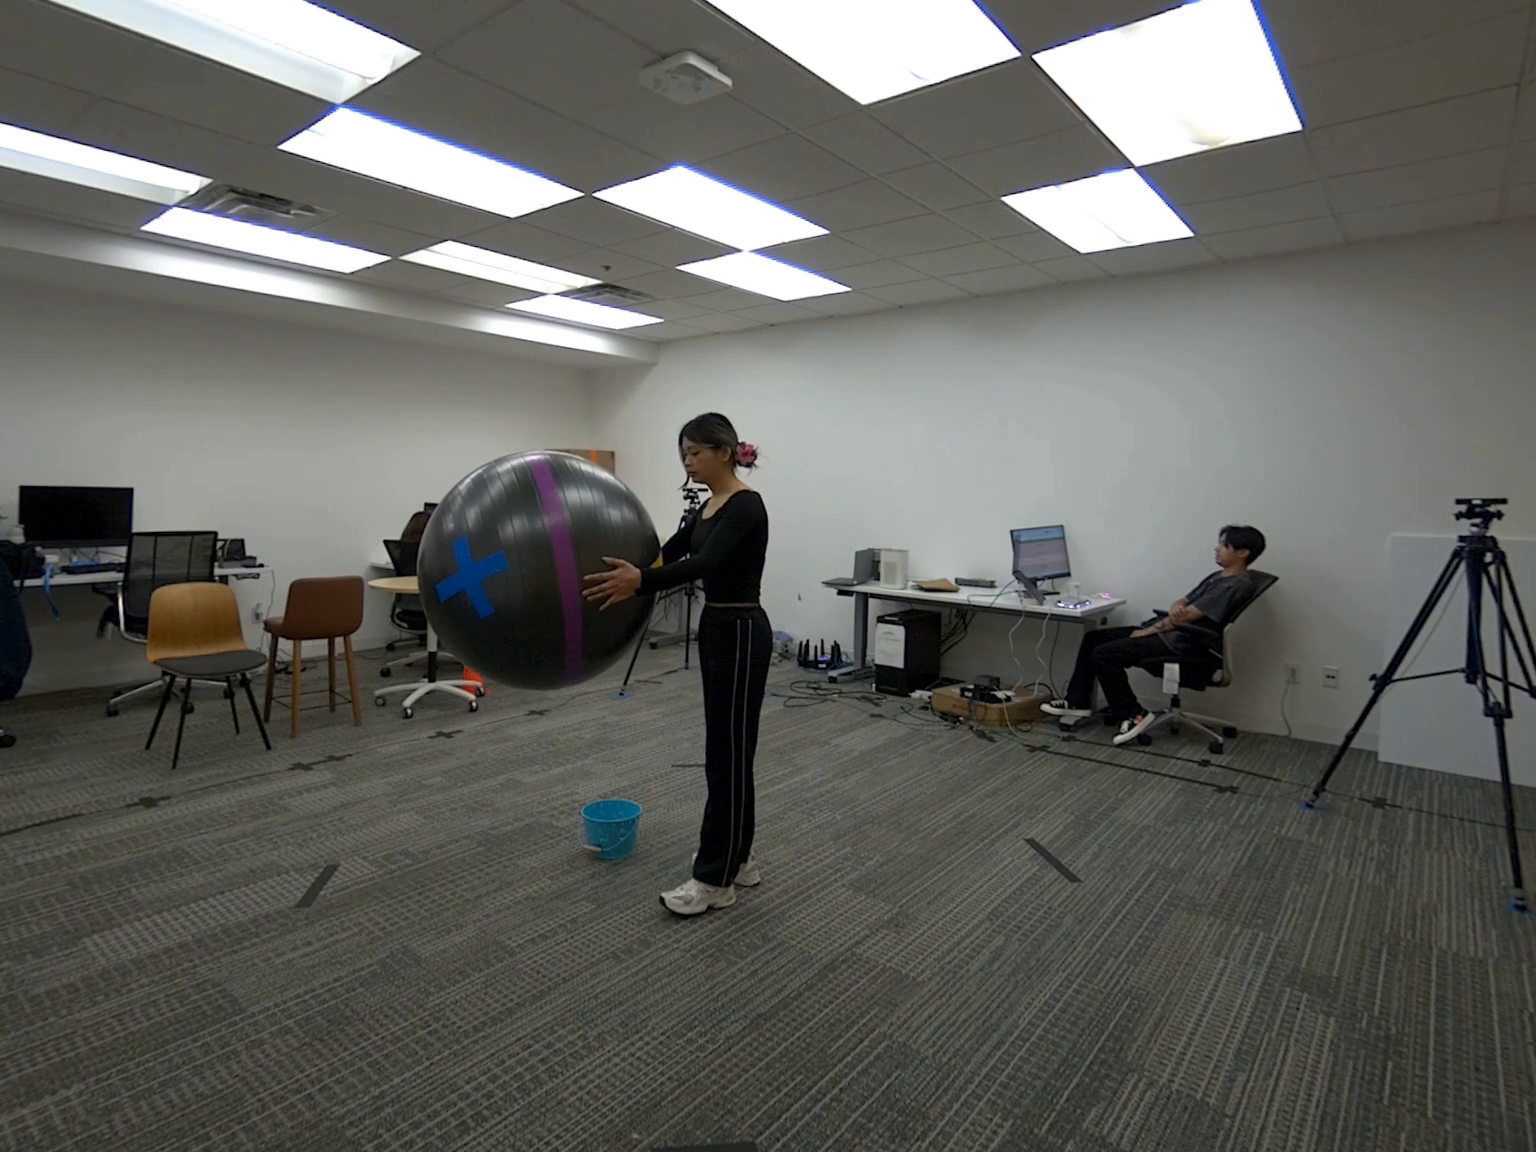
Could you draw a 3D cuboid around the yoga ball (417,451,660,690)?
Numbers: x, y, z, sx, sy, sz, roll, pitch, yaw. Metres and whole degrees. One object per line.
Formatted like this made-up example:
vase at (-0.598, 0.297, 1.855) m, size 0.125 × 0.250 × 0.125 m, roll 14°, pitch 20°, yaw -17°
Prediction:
yoga ball at (-0.744, -0.016, 2.703) m, size 0.757 × 0.755 × 0.762 m, roll 1°, pitch 4°, yaw -2°
